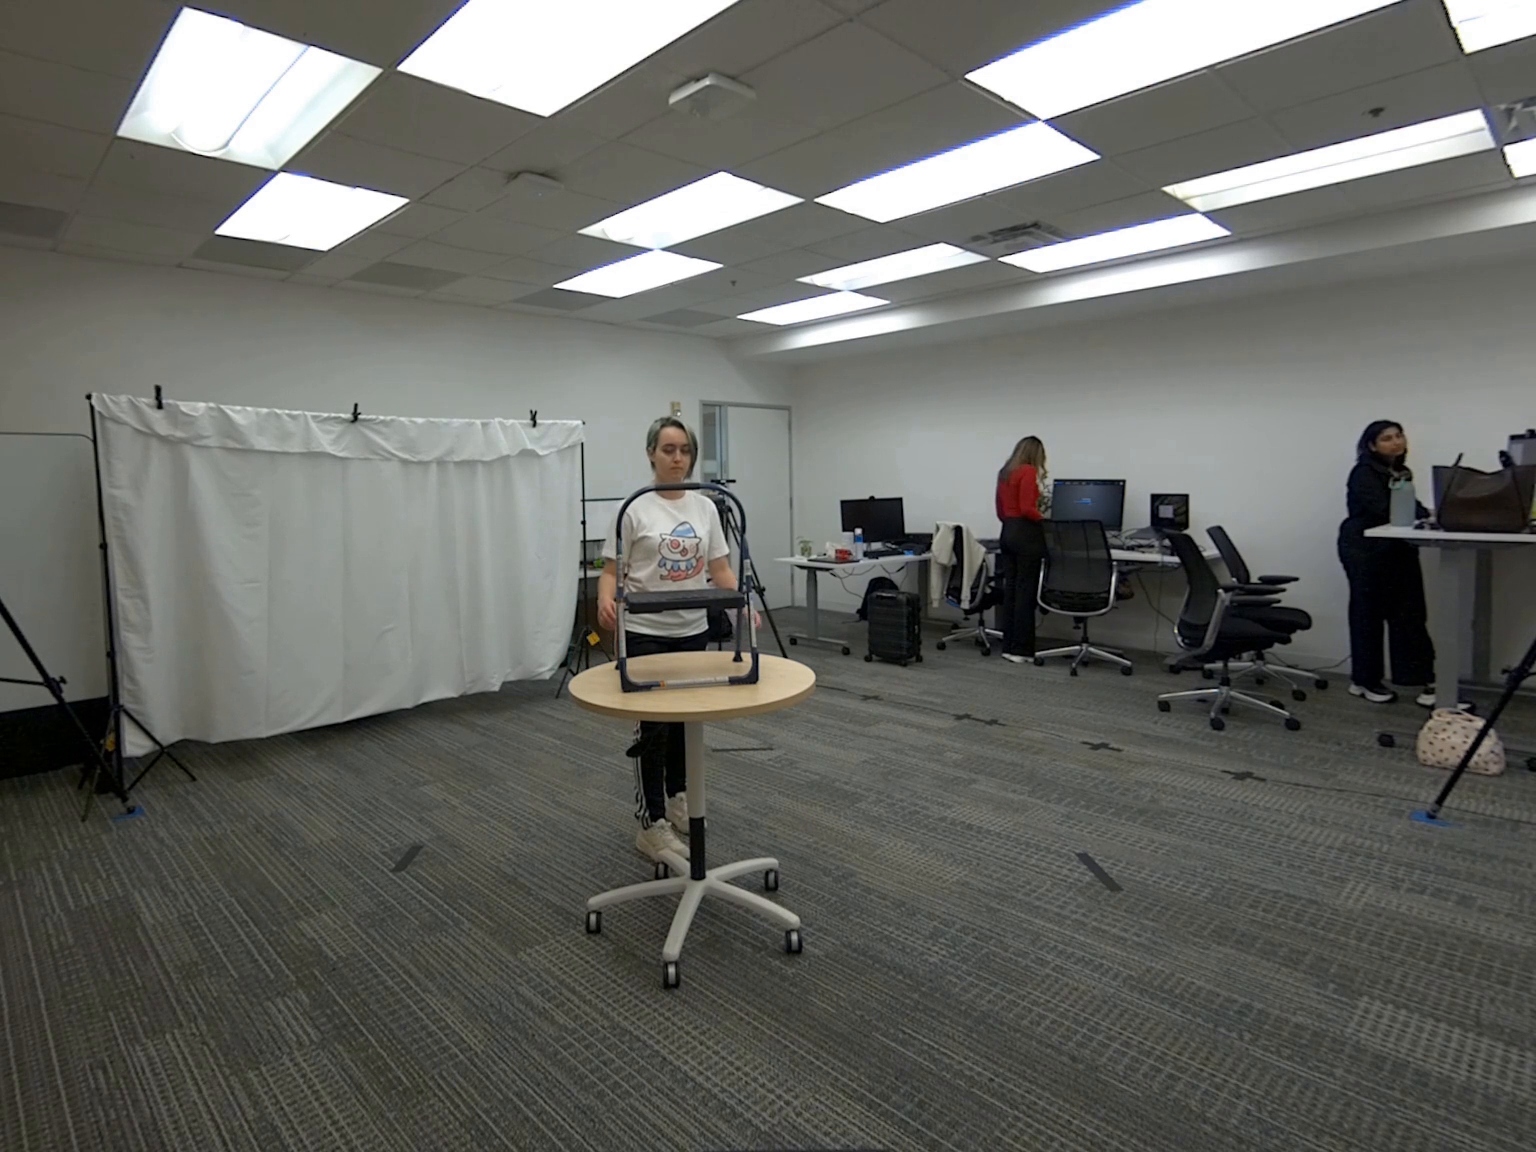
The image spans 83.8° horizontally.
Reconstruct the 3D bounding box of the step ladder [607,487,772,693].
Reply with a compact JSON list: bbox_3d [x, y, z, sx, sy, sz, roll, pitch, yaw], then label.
[{"bbox_3d":[-0.267,0.014,2.680,0.426,0.603,0.354,-2,5,-11],"label":"step ladder"}]
